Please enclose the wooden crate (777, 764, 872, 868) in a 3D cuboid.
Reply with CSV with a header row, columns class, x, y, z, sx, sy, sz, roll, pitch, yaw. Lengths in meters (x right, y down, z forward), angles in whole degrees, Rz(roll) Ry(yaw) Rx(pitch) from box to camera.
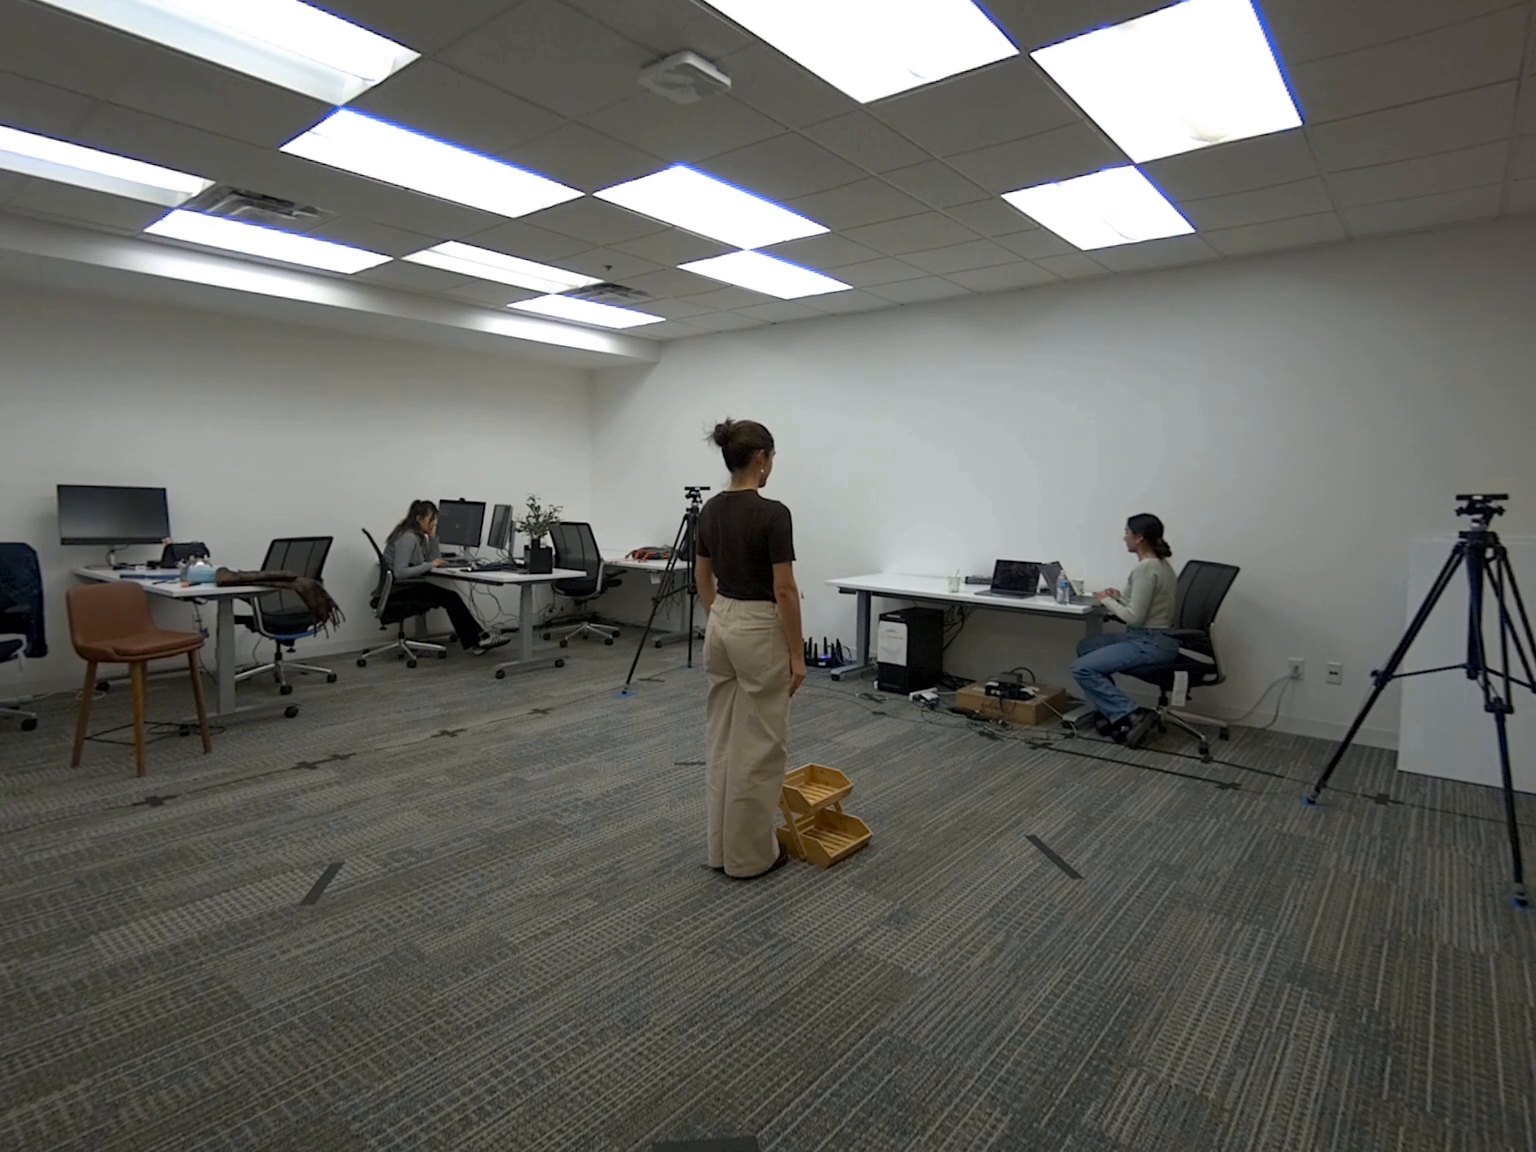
class,x,y,z,sx,sy,sz,roll,pitch,yaw
wooden crate,0.194,0.915,3.313,0.312,0.272,0.315,3,5,38
